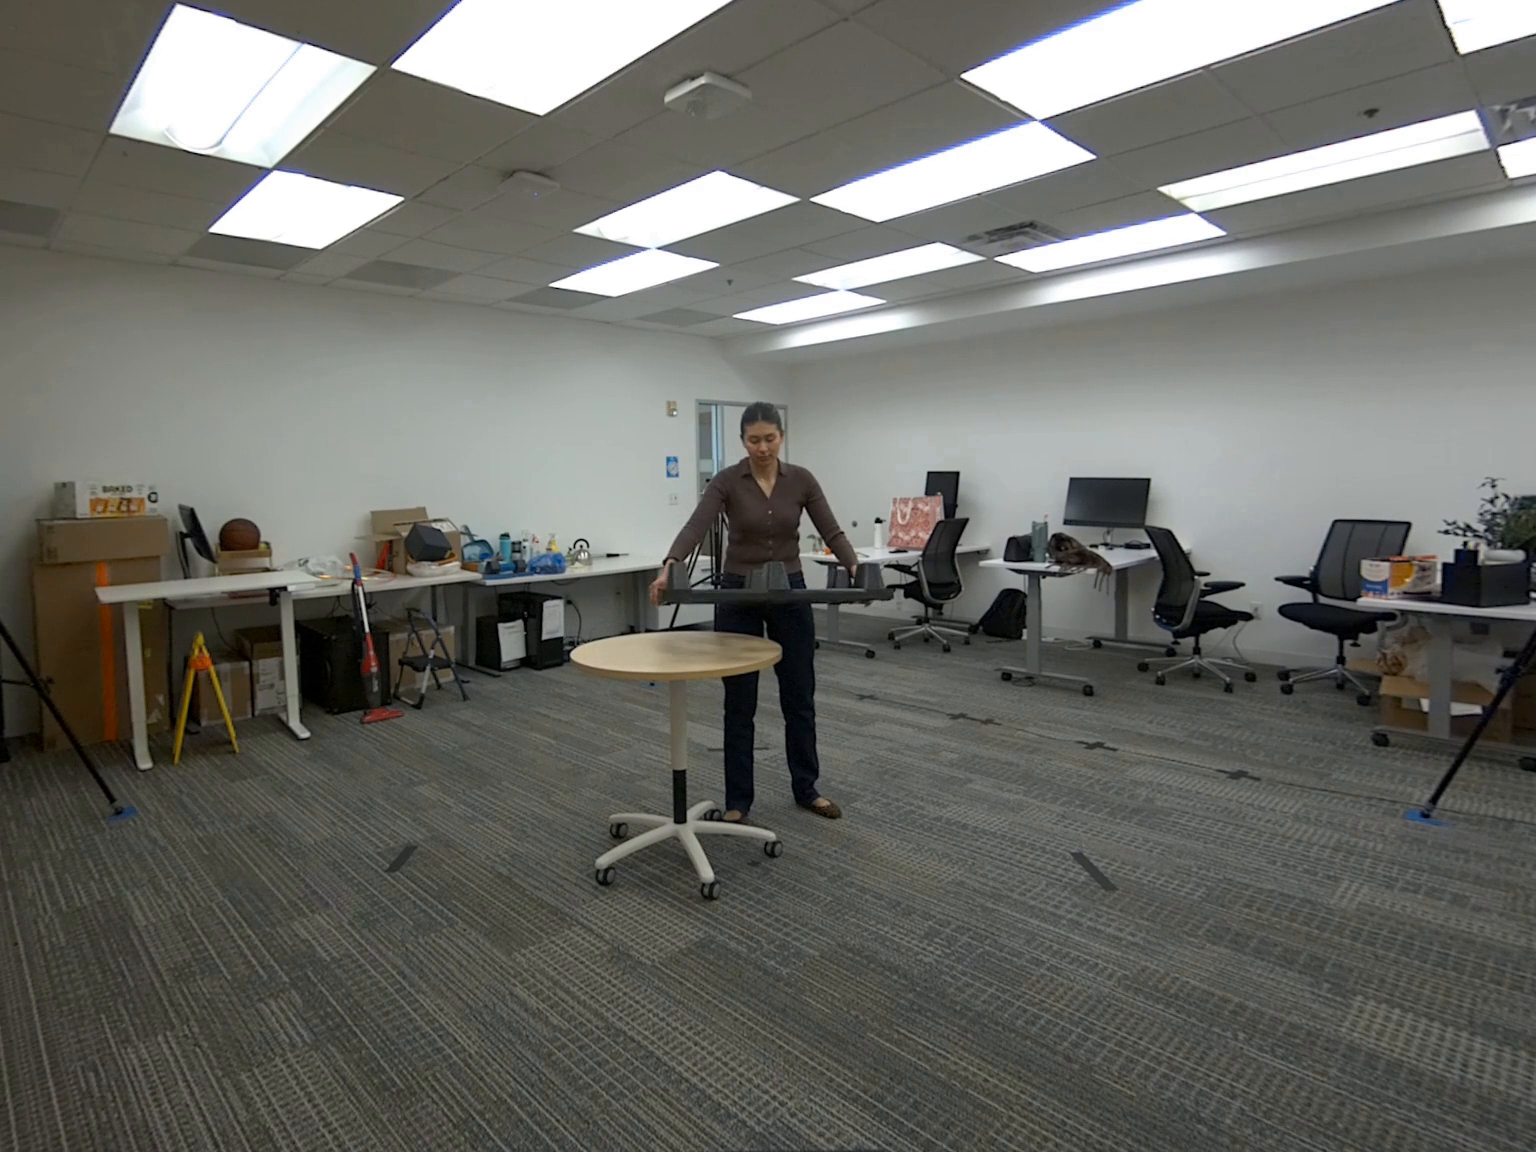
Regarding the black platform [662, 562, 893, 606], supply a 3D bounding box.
[{"bbox_3d":[-0.010,0.041,3.167,0.799,0.144,0.607,1,-3,-8],"label":"black platform"}]
